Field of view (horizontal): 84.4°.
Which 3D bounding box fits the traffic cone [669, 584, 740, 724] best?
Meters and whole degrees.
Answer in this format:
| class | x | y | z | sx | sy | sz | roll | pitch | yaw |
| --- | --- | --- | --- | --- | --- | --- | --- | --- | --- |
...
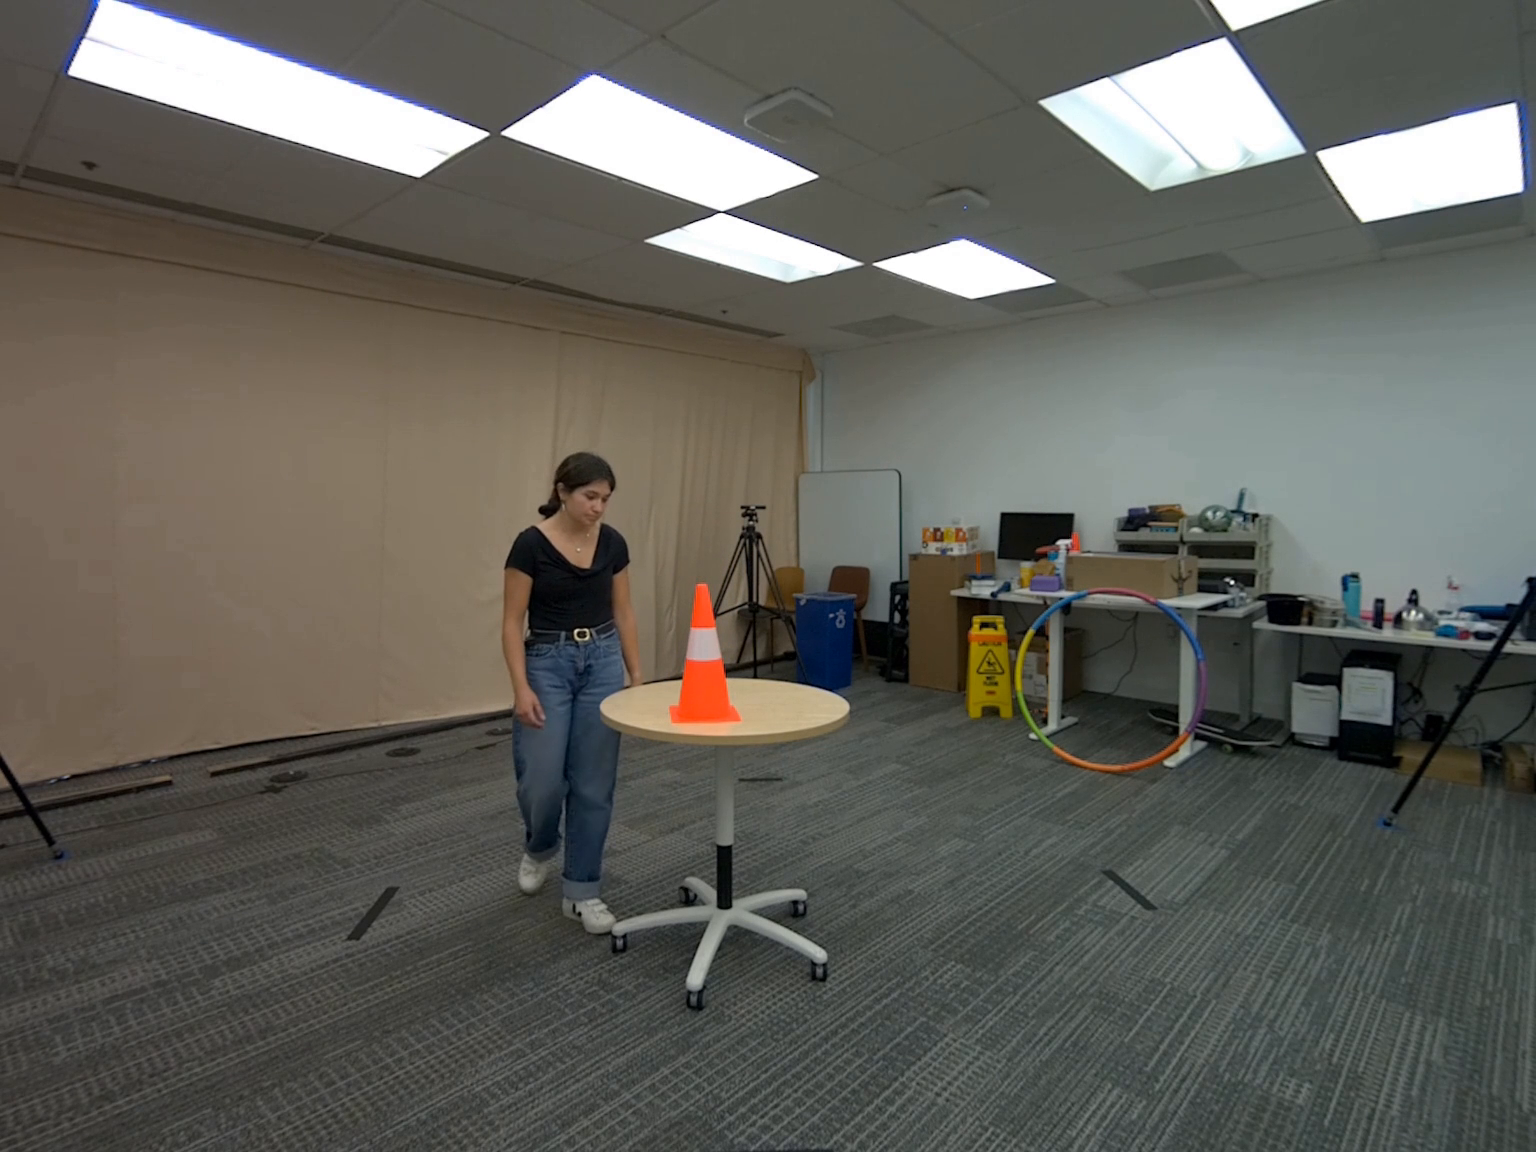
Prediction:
| class | x | y | z | sx | sy | sz | roll | pitch | yaw |
| --- | --- | --- | --- | --- | --- | --- | --- | --- | --- |
| traffic cone | -0.178 | 0.221 | 2.446 | 0.200 | 0.383 | 0.208 | 0 | 1 | -14 |
